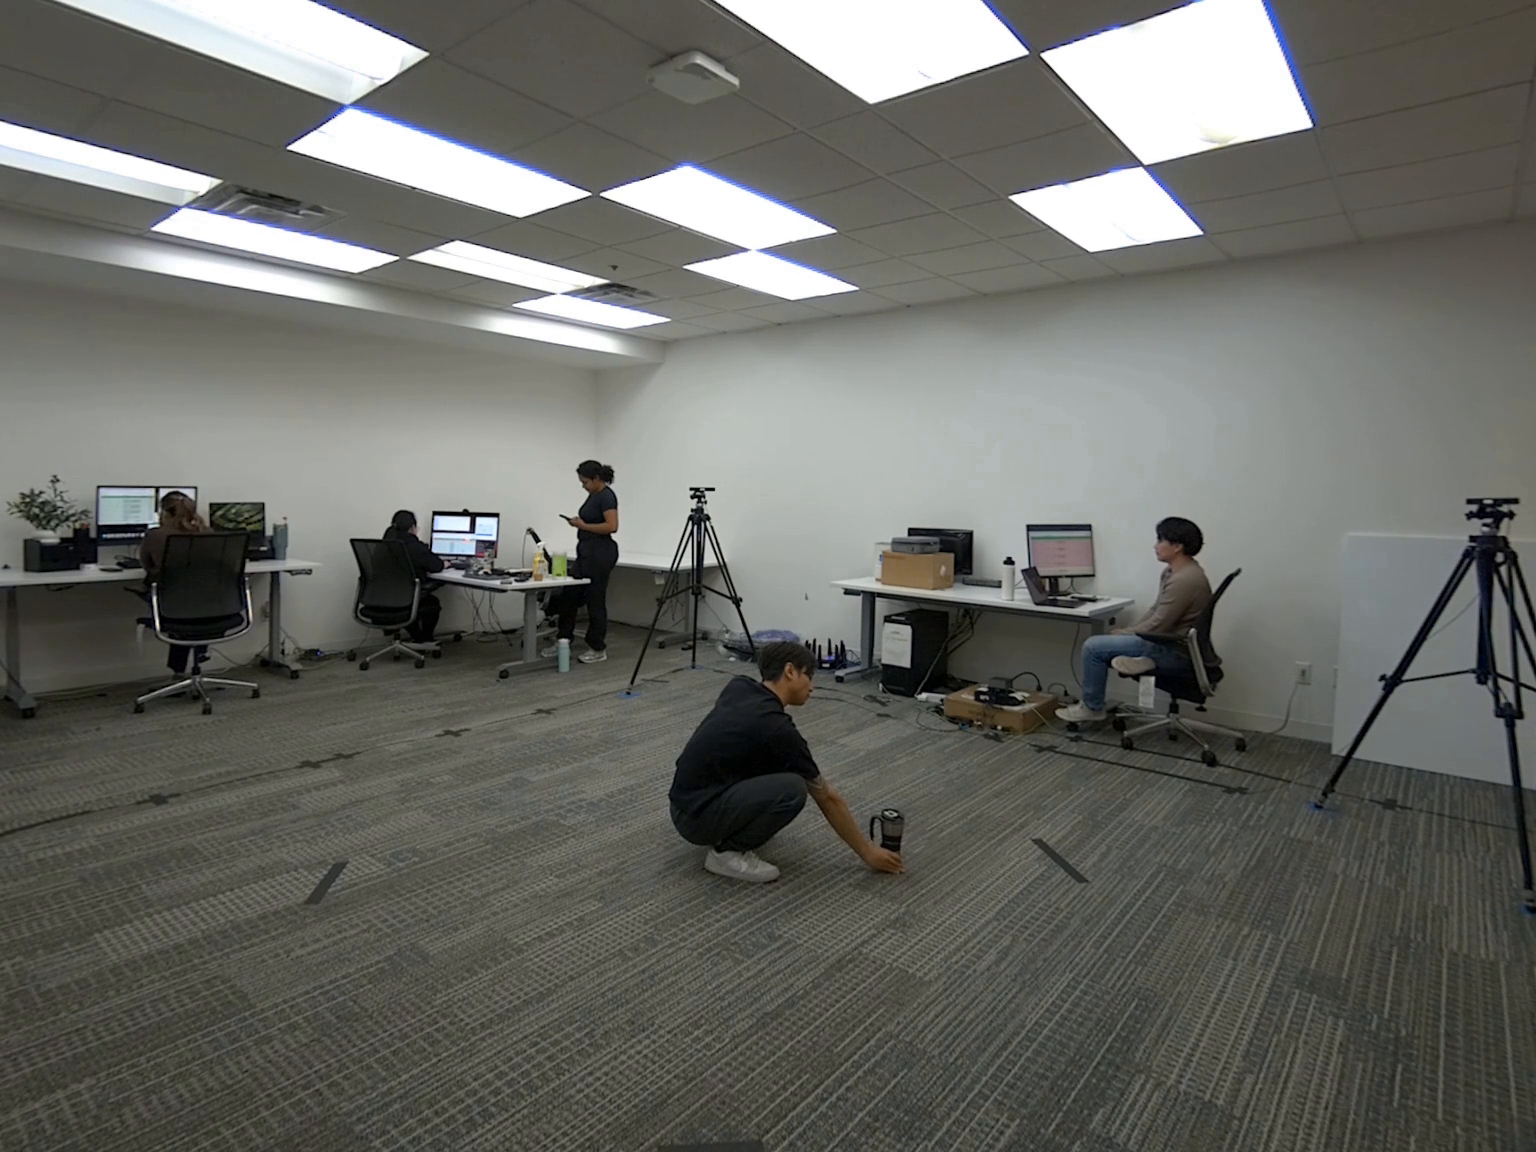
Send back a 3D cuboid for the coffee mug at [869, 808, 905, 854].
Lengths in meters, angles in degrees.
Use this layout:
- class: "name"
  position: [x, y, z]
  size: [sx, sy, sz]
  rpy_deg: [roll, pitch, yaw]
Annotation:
- class: "coffee mug"
  position: [0.438, 0.979, 3.167]
  size: [0.126, 0.201, 0.086]
  rpy_deg: [9, 11, 33]
